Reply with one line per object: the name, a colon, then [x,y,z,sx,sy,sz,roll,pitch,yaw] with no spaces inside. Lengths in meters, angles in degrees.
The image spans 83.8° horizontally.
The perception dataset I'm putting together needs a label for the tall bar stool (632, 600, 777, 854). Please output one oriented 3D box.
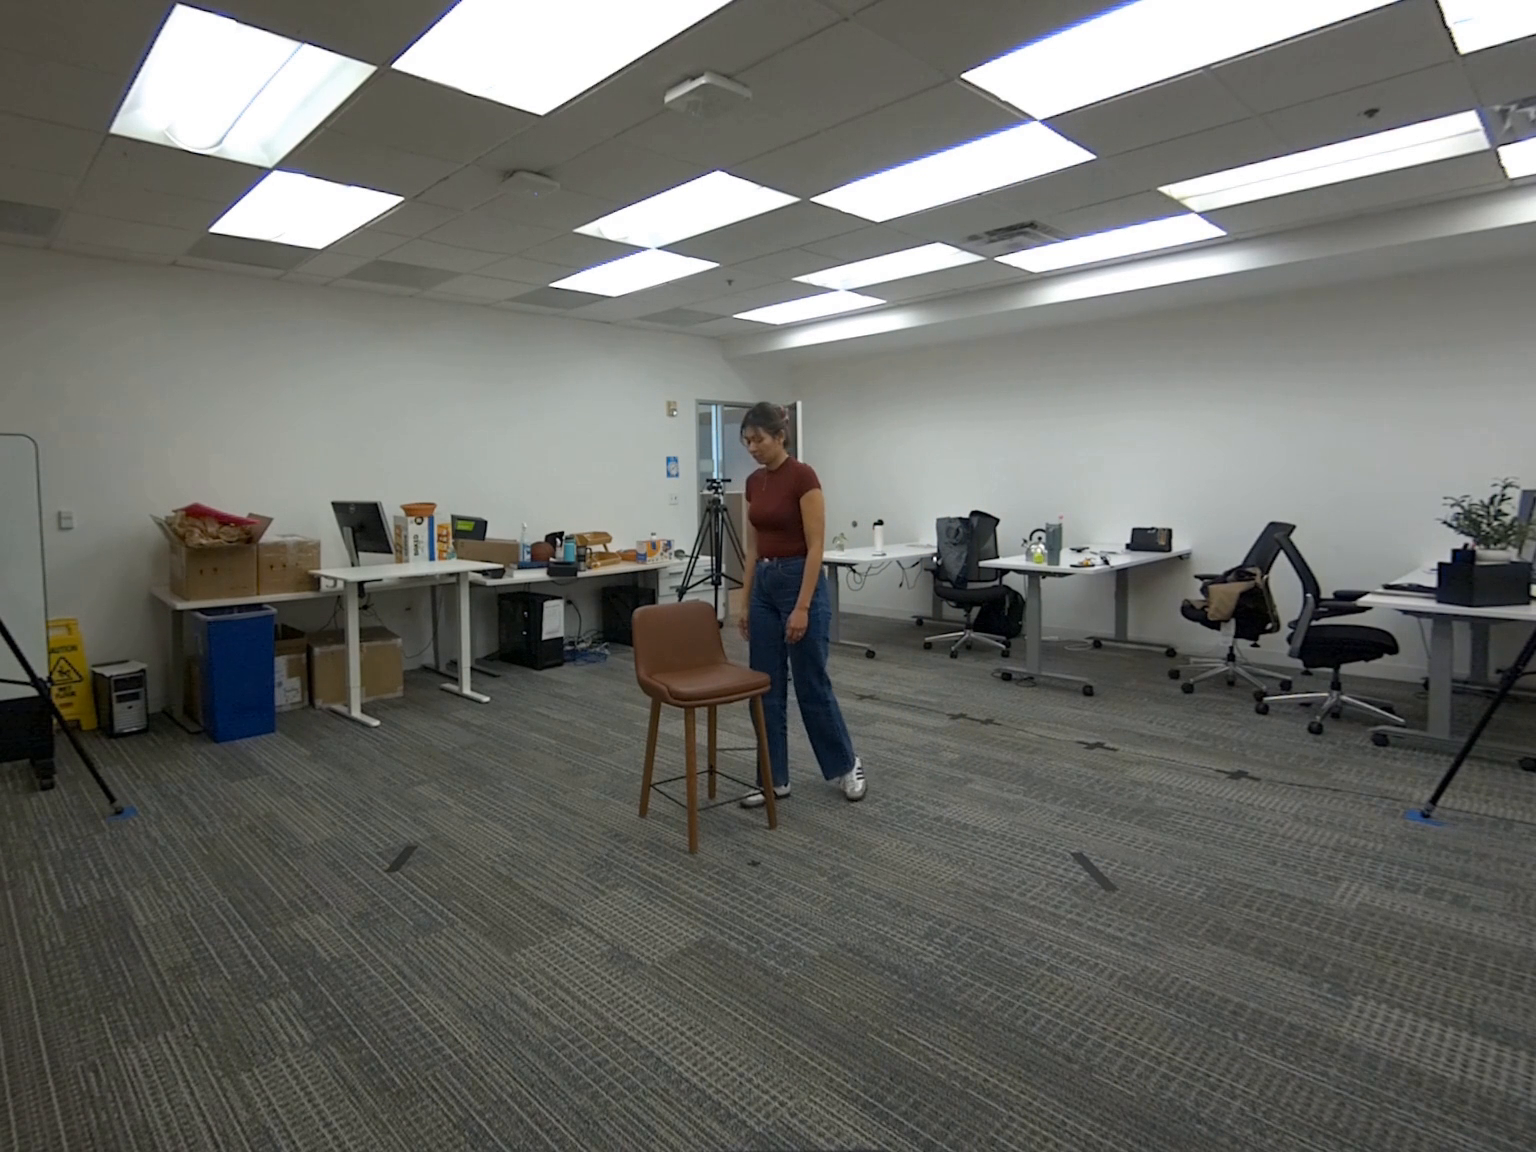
tall bar stool: [-0.270,0.575,3.462,0.445,0.888,0.481,-3,3,-36]
